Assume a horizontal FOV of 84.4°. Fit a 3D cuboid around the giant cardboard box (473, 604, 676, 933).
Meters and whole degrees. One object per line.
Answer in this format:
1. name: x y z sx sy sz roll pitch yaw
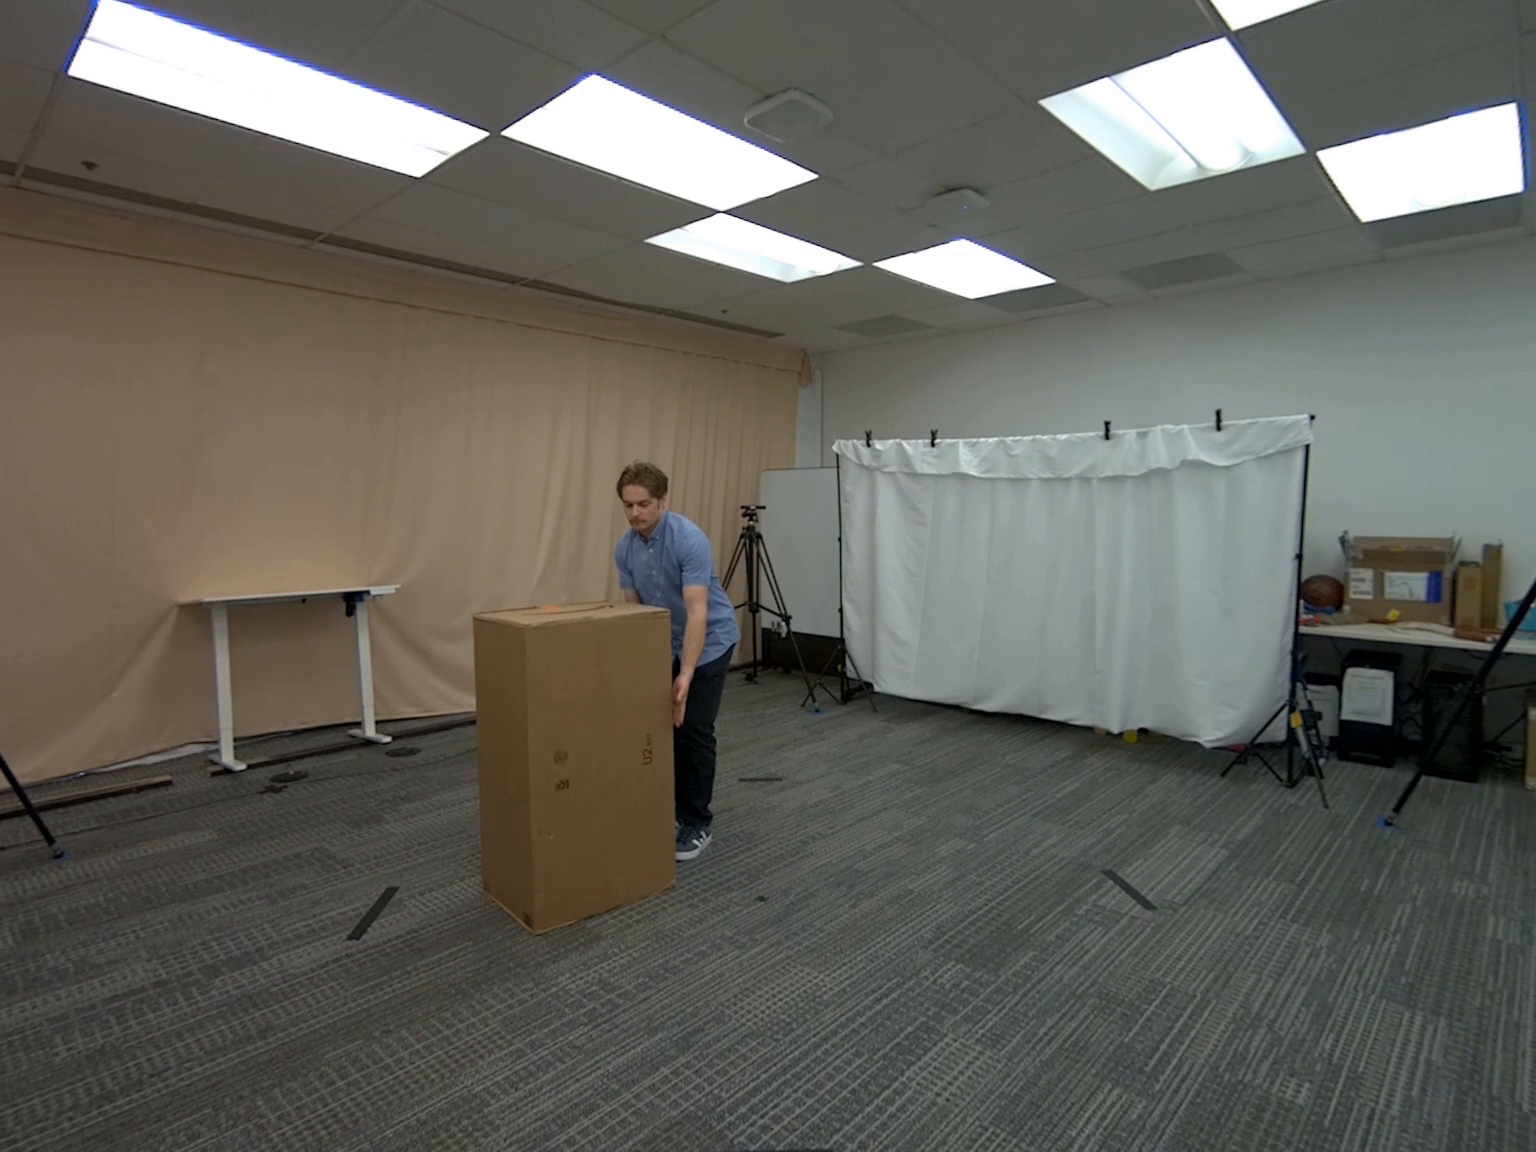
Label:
1. giant cardboard box: -0.700 0.638 3.041 0.560 1.024 0.440 -3 4 -40
